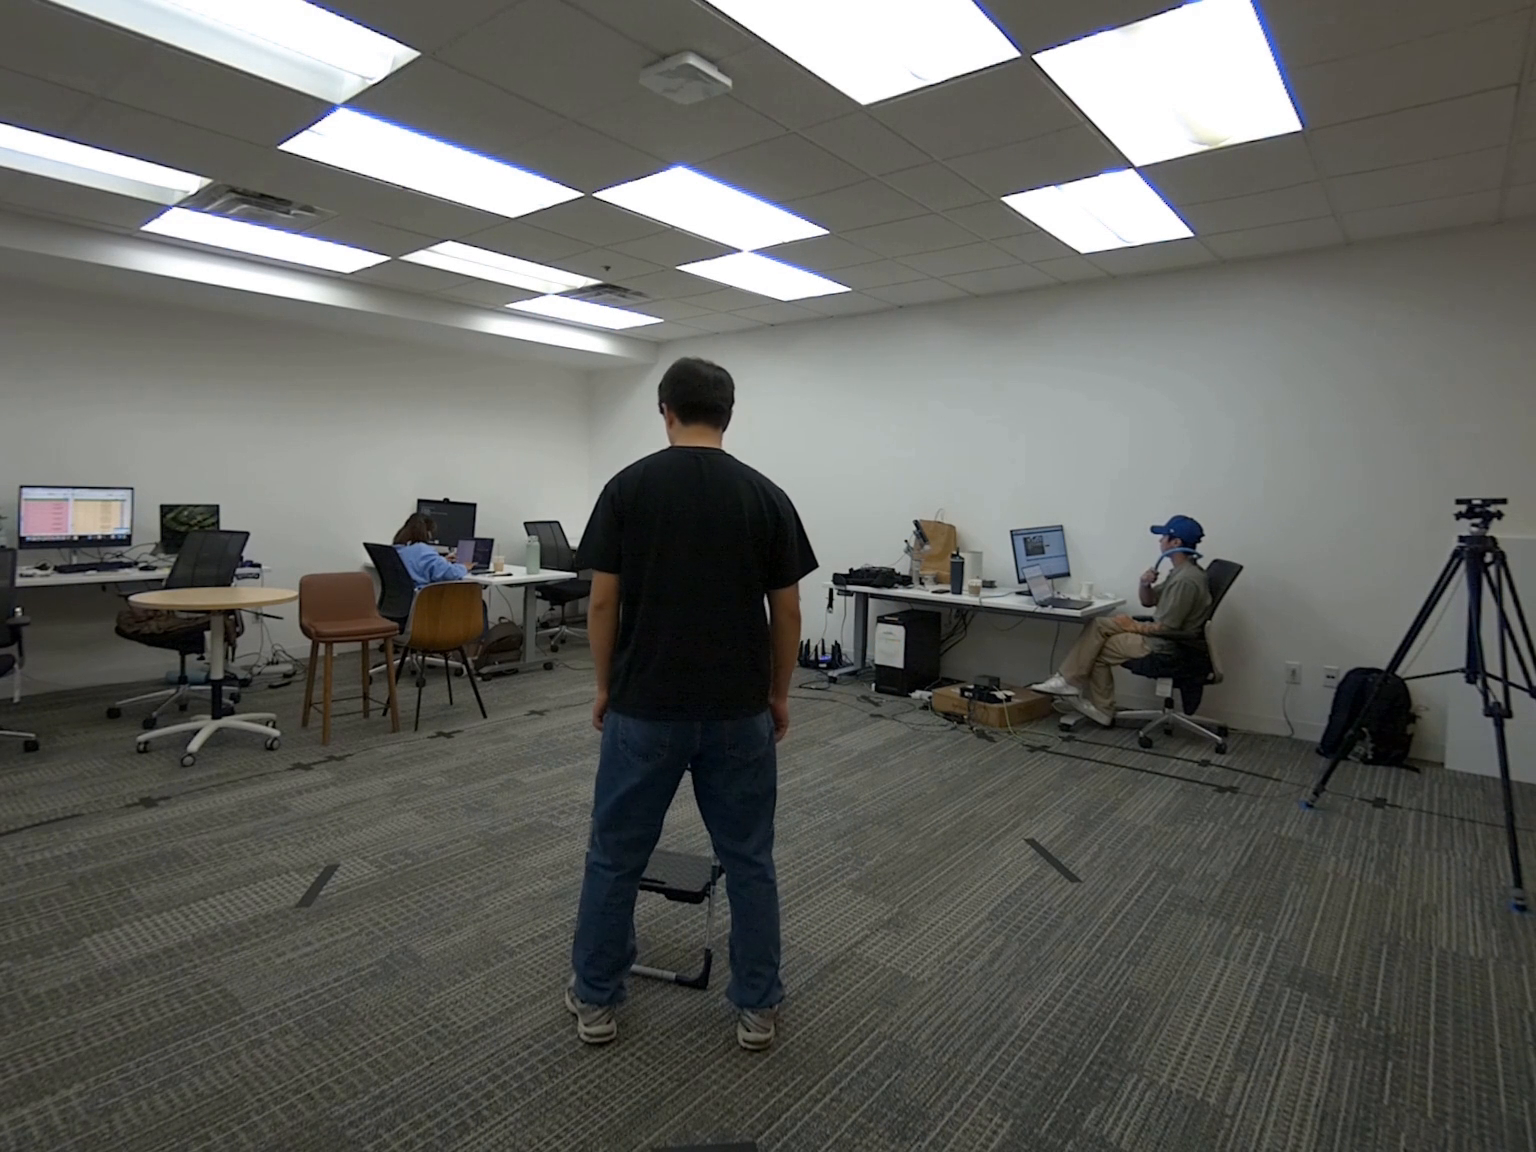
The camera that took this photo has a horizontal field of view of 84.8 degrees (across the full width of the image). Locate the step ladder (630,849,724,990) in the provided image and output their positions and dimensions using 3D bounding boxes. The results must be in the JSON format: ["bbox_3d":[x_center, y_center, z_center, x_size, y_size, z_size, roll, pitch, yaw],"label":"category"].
[{"bbox_3d":[-0.334,0.820,2.555,0.438,0.605,0.344,2,3,15],"label":"step ladder"}]
